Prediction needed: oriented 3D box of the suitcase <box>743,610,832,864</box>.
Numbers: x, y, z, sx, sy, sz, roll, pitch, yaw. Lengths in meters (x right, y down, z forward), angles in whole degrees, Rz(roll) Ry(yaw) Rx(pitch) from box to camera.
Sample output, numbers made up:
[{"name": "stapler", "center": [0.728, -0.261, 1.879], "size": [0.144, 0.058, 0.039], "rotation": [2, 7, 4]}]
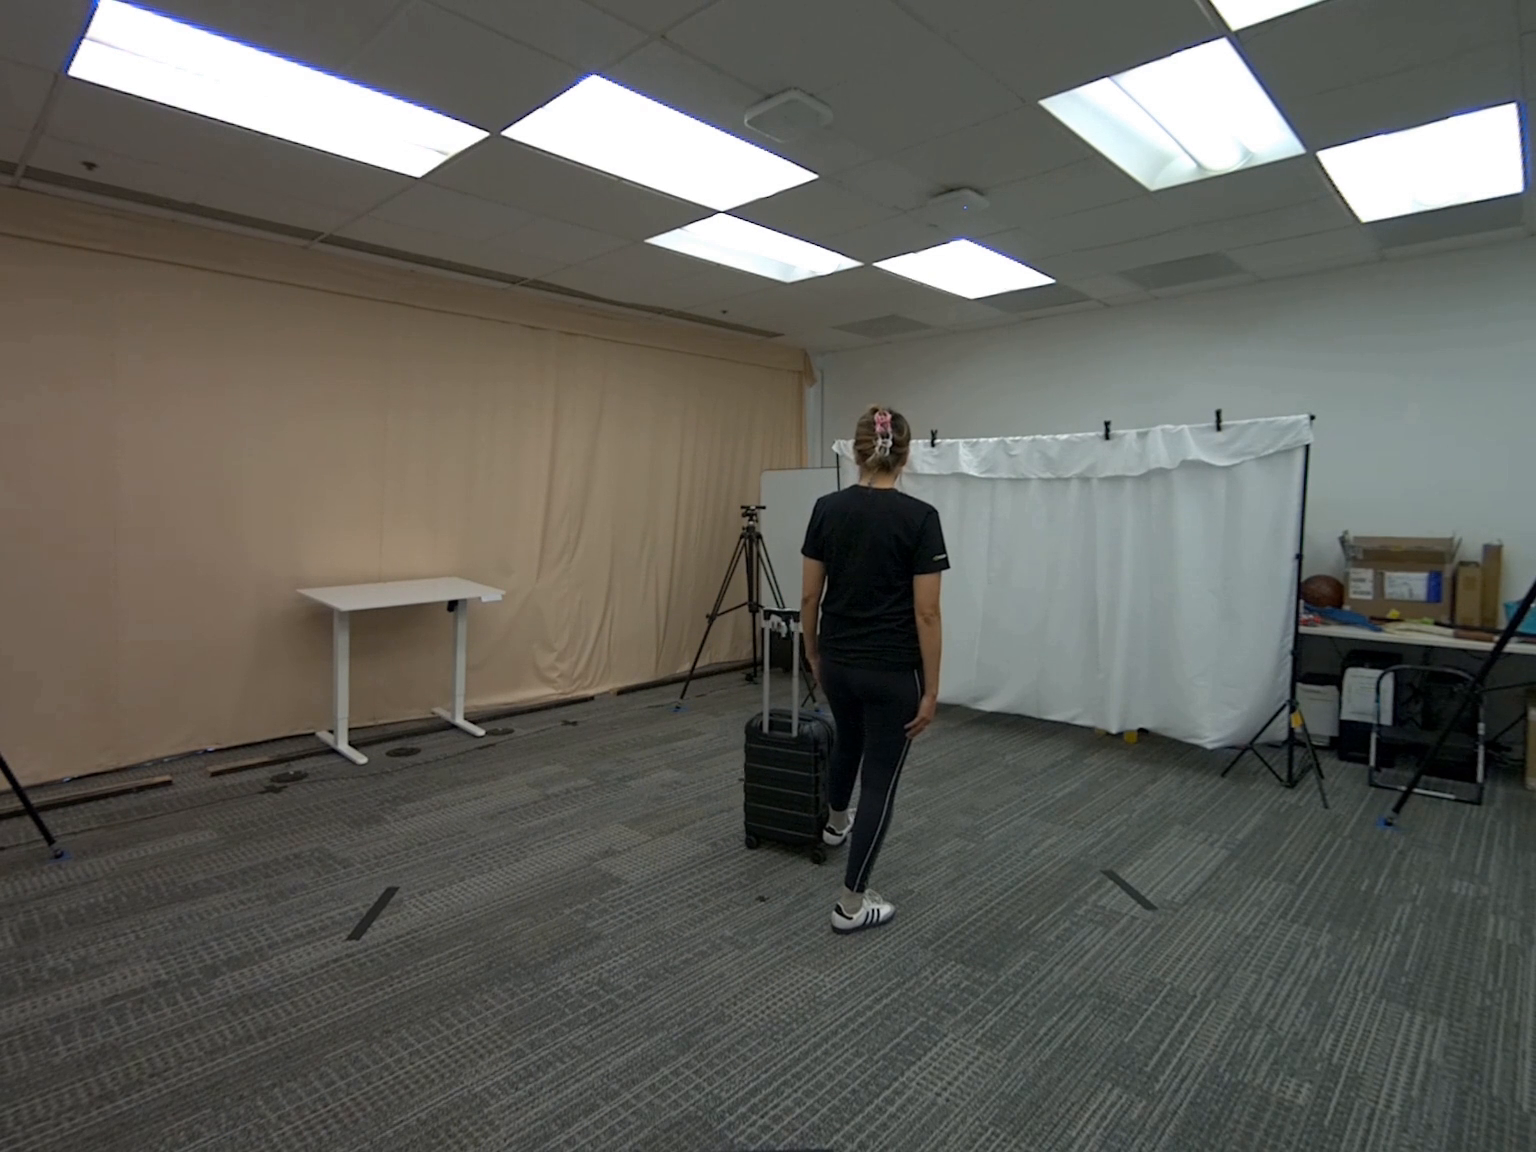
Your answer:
[{"name": "suitcase", "center": [0.095, 0.626, 3.445], "size": [0.394, 0.978, 0.250], "rotation": [0, 1, 28]}]
